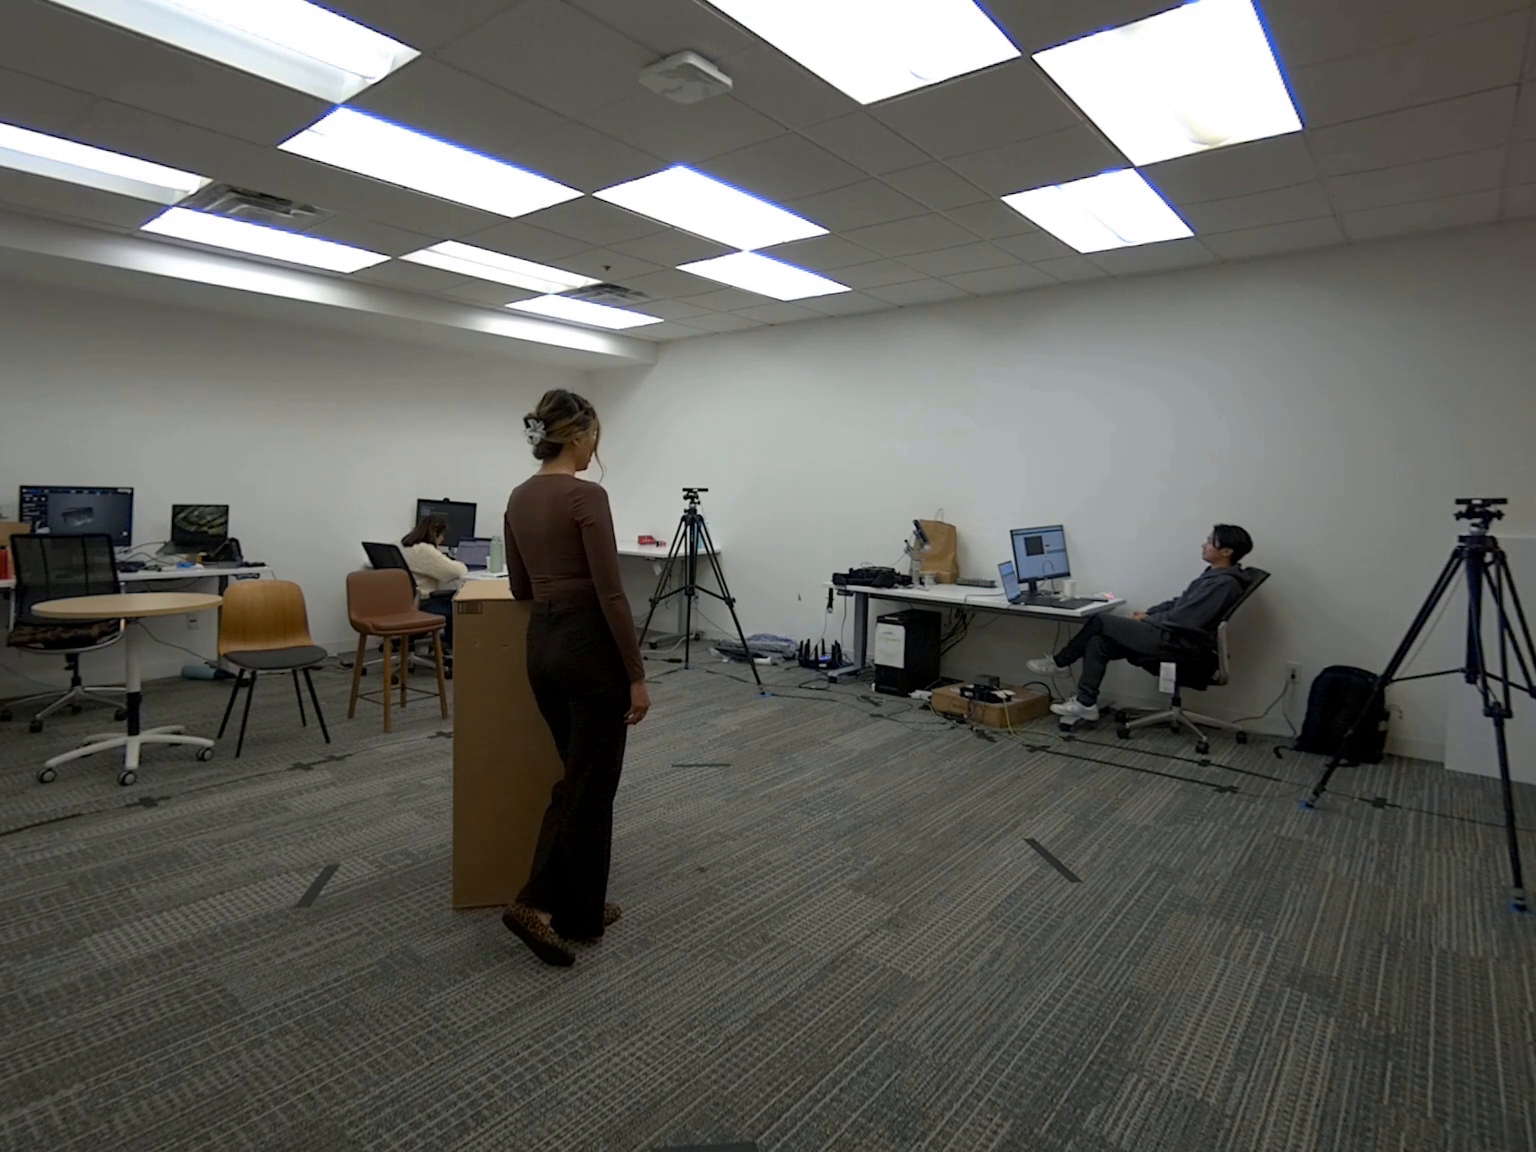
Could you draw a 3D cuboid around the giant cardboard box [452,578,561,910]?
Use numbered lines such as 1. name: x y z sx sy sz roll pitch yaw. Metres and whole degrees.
1. giant cardboard box: -0.910 0.554 3.080 0.440 1.024 0.594 0 3 -15
